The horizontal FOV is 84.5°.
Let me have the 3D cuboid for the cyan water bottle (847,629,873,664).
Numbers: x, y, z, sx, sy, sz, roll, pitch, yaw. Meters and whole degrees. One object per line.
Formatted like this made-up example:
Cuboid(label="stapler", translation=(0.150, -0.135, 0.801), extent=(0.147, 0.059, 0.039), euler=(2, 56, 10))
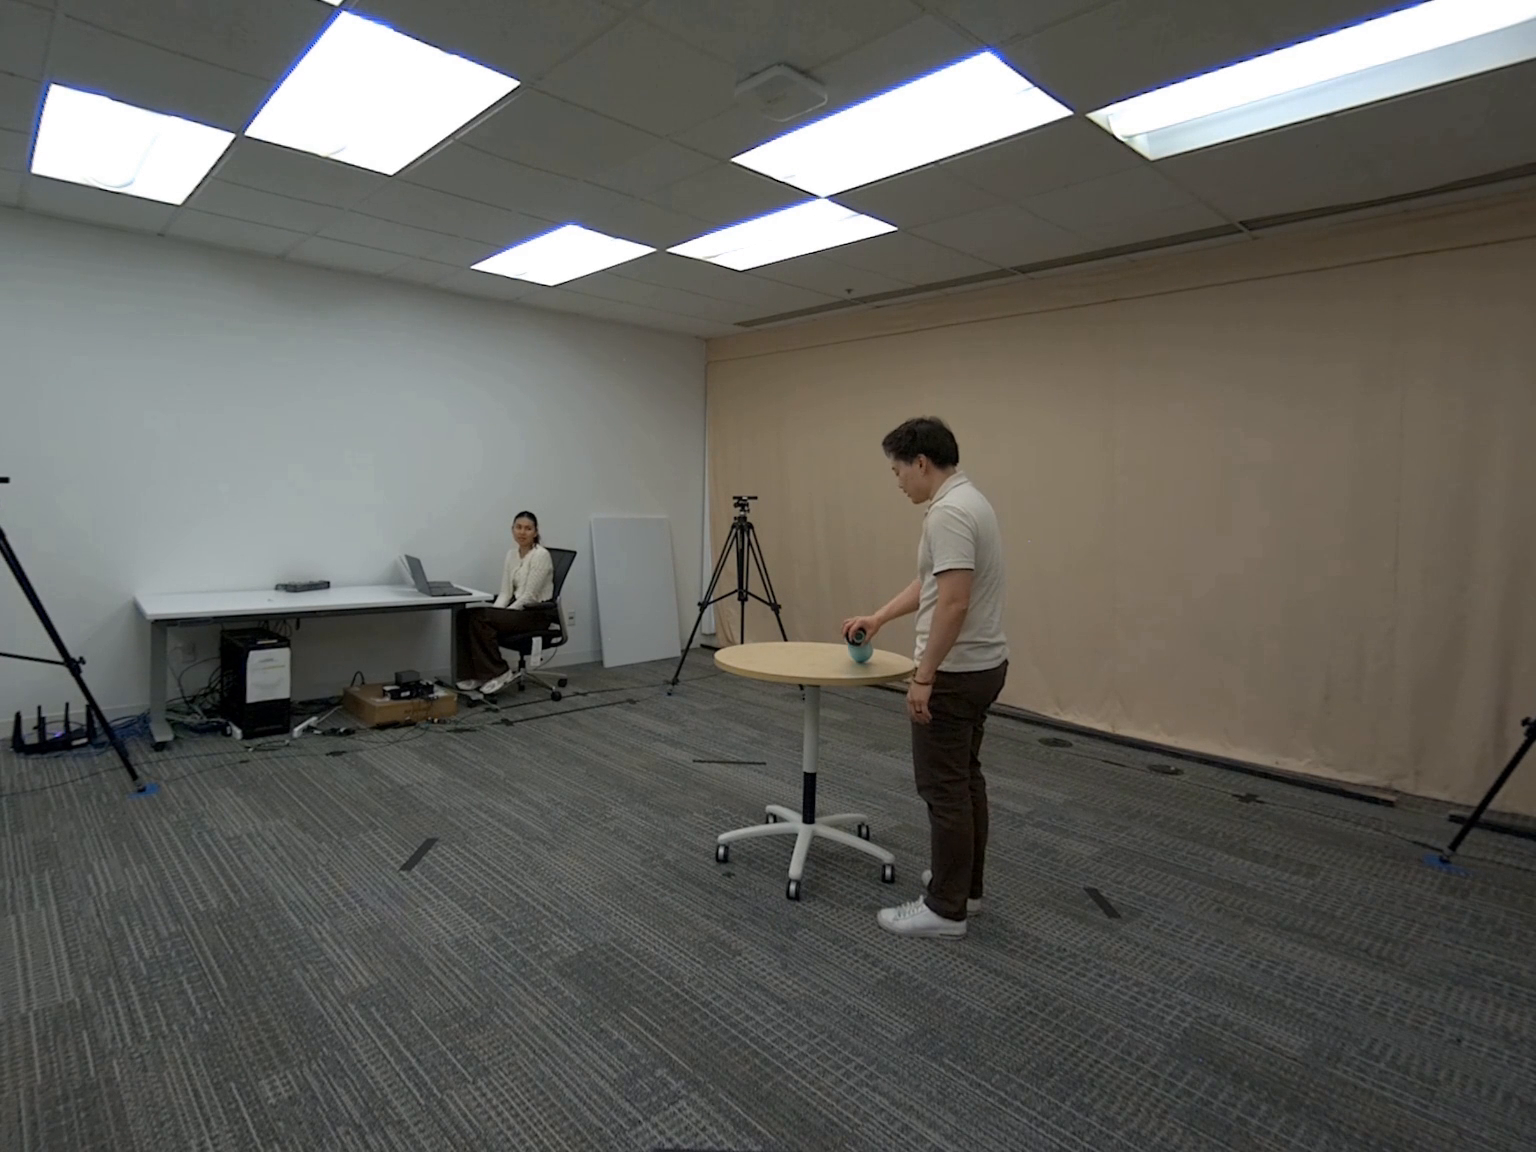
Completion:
Cuboid(label="cyan water bottle", translation=(0.320, 0.242, 3.070), extent=(0.093, 0.093, 0.277), euler=(3, -18, 11))
